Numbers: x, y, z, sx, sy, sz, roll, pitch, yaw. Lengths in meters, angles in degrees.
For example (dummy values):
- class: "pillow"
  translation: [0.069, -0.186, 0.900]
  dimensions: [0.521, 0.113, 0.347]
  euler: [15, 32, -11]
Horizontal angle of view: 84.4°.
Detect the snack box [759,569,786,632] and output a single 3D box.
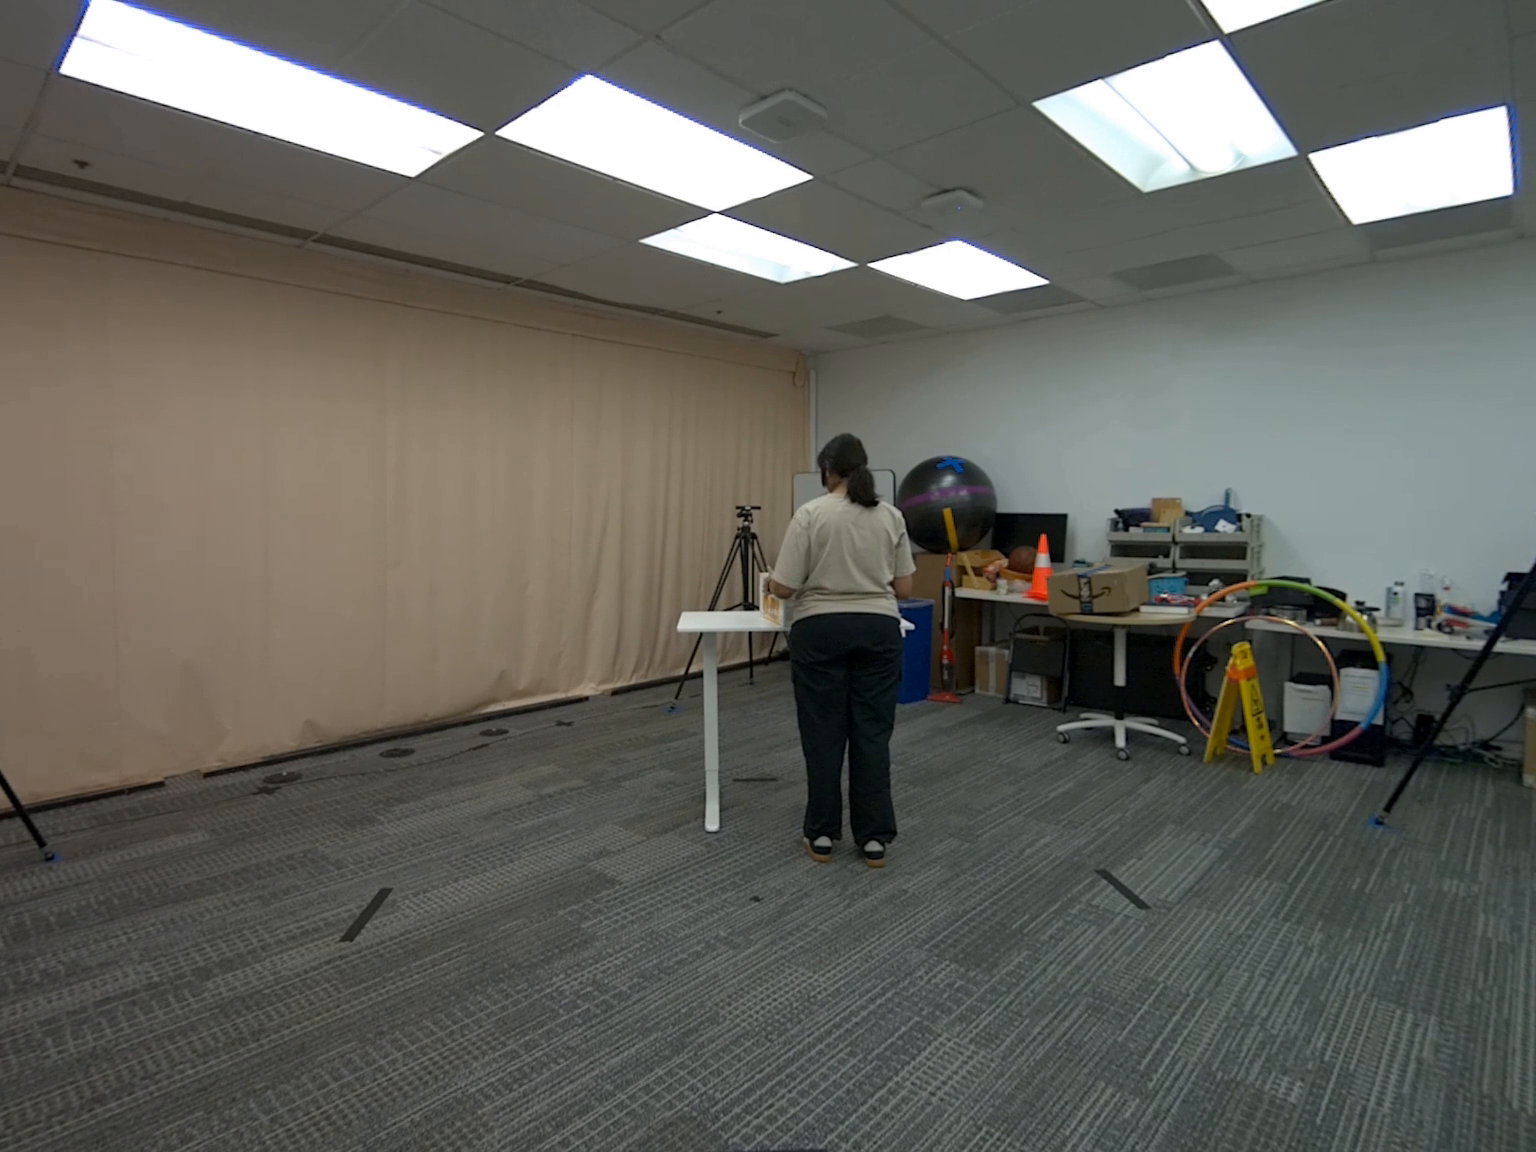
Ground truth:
- class: "snack box"
  translation: [0.180, 0.095, 3.766]
  dimensions: [0.336, 0.205, 0.411]
  euler: [-2, 4, -14]
